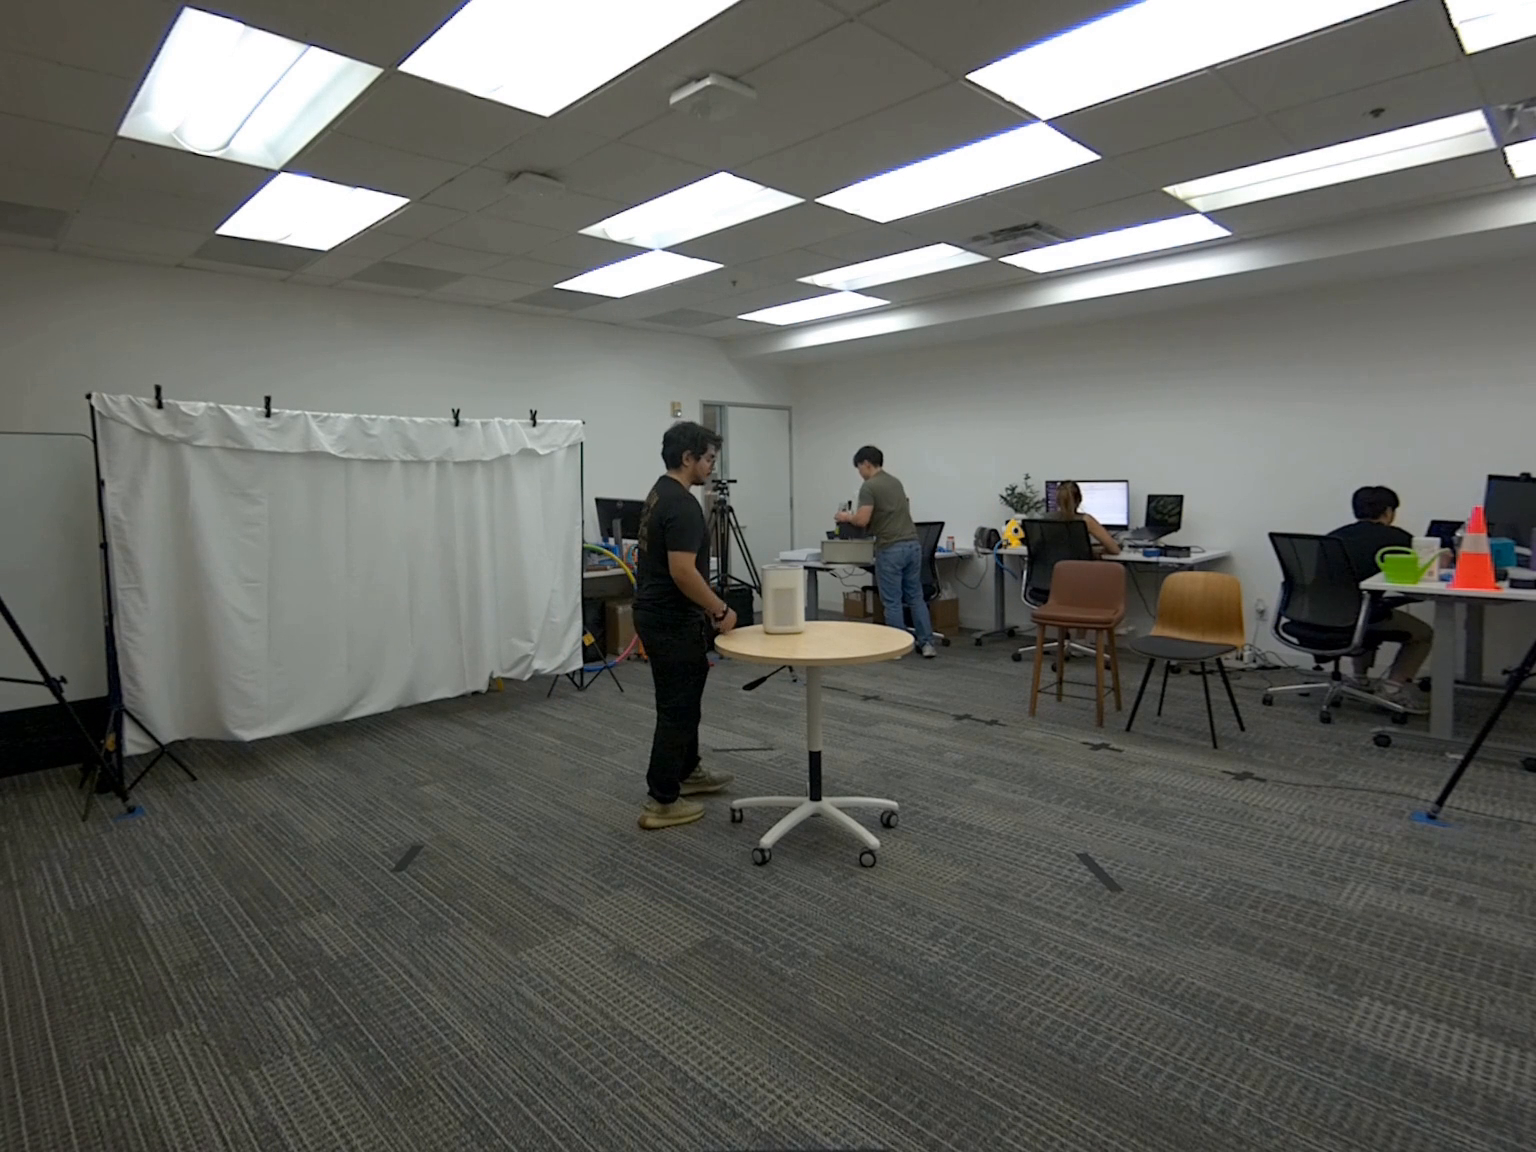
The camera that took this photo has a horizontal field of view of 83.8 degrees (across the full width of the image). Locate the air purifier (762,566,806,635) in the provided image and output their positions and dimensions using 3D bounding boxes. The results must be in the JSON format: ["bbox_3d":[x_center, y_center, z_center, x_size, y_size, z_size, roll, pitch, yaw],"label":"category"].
[{"bbox_3d":[0.060,0.088,3.461,0.172,0.264,0.172,-1,6,1],"label":"air purifier"}]
